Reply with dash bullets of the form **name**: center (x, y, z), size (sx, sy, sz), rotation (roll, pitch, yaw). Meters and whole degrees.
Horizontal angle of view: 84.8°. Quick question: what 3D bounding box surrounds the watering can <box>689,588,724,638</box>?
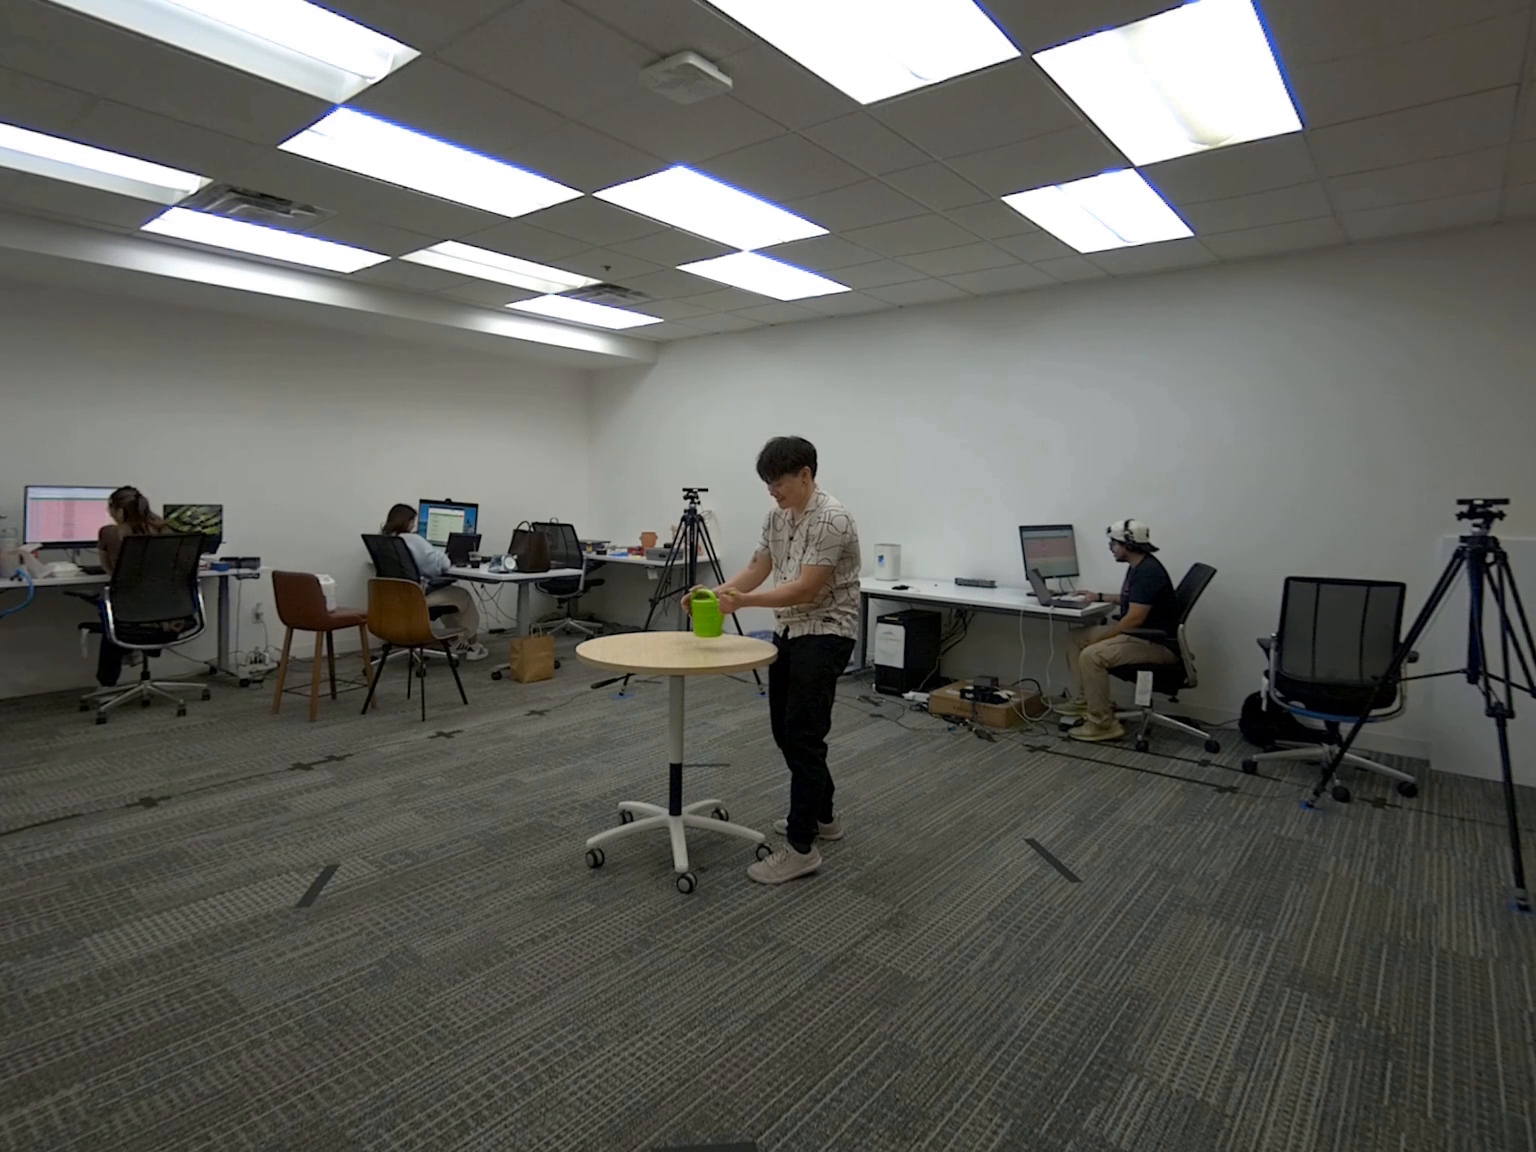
- **watering can**: center (-0.212, 0.137, 3.188), size (0.095, 0.176, 0.287), rotation (-9, 8, -36)
